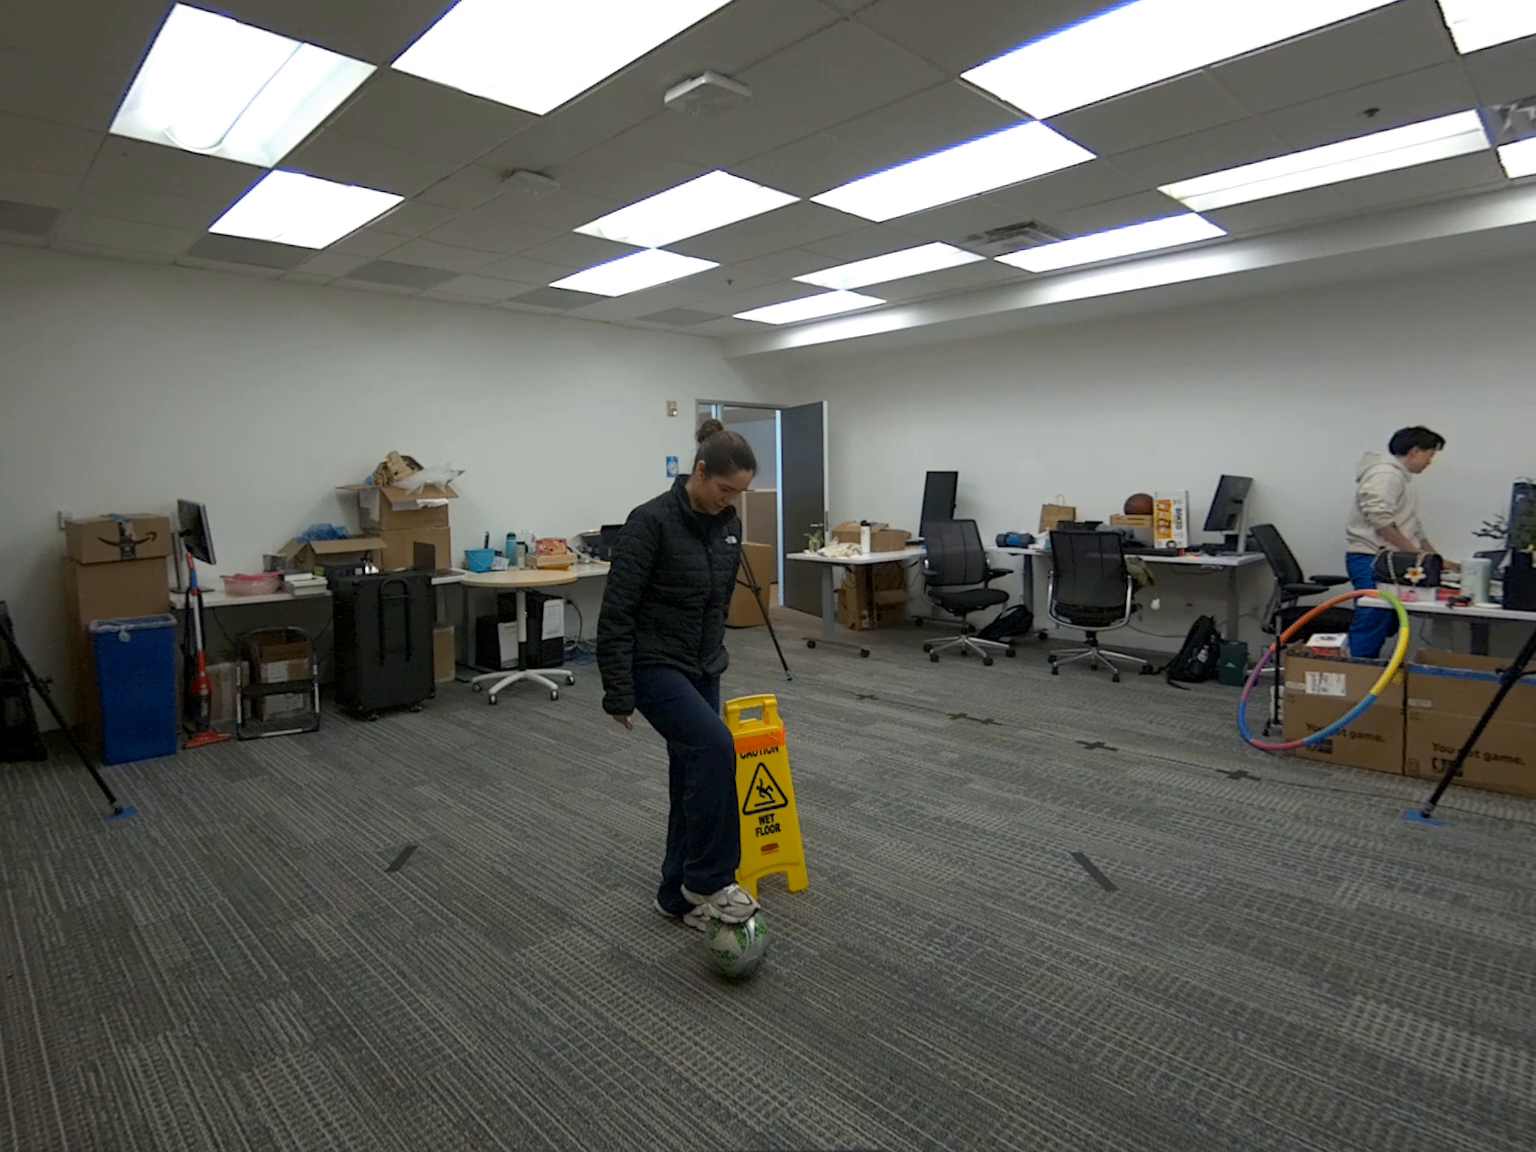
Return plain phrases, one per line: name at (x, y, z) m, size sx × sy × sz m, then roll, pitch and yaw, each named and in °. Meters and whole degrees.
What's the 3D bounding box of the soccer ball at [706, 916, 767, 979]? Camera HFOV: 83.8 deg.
soccer ball at (-0.088, 1.040, 2.417) m, size 0.187 × 0.187 × 0.188 m, roll -1°, pitch 5°, yaw -2°
